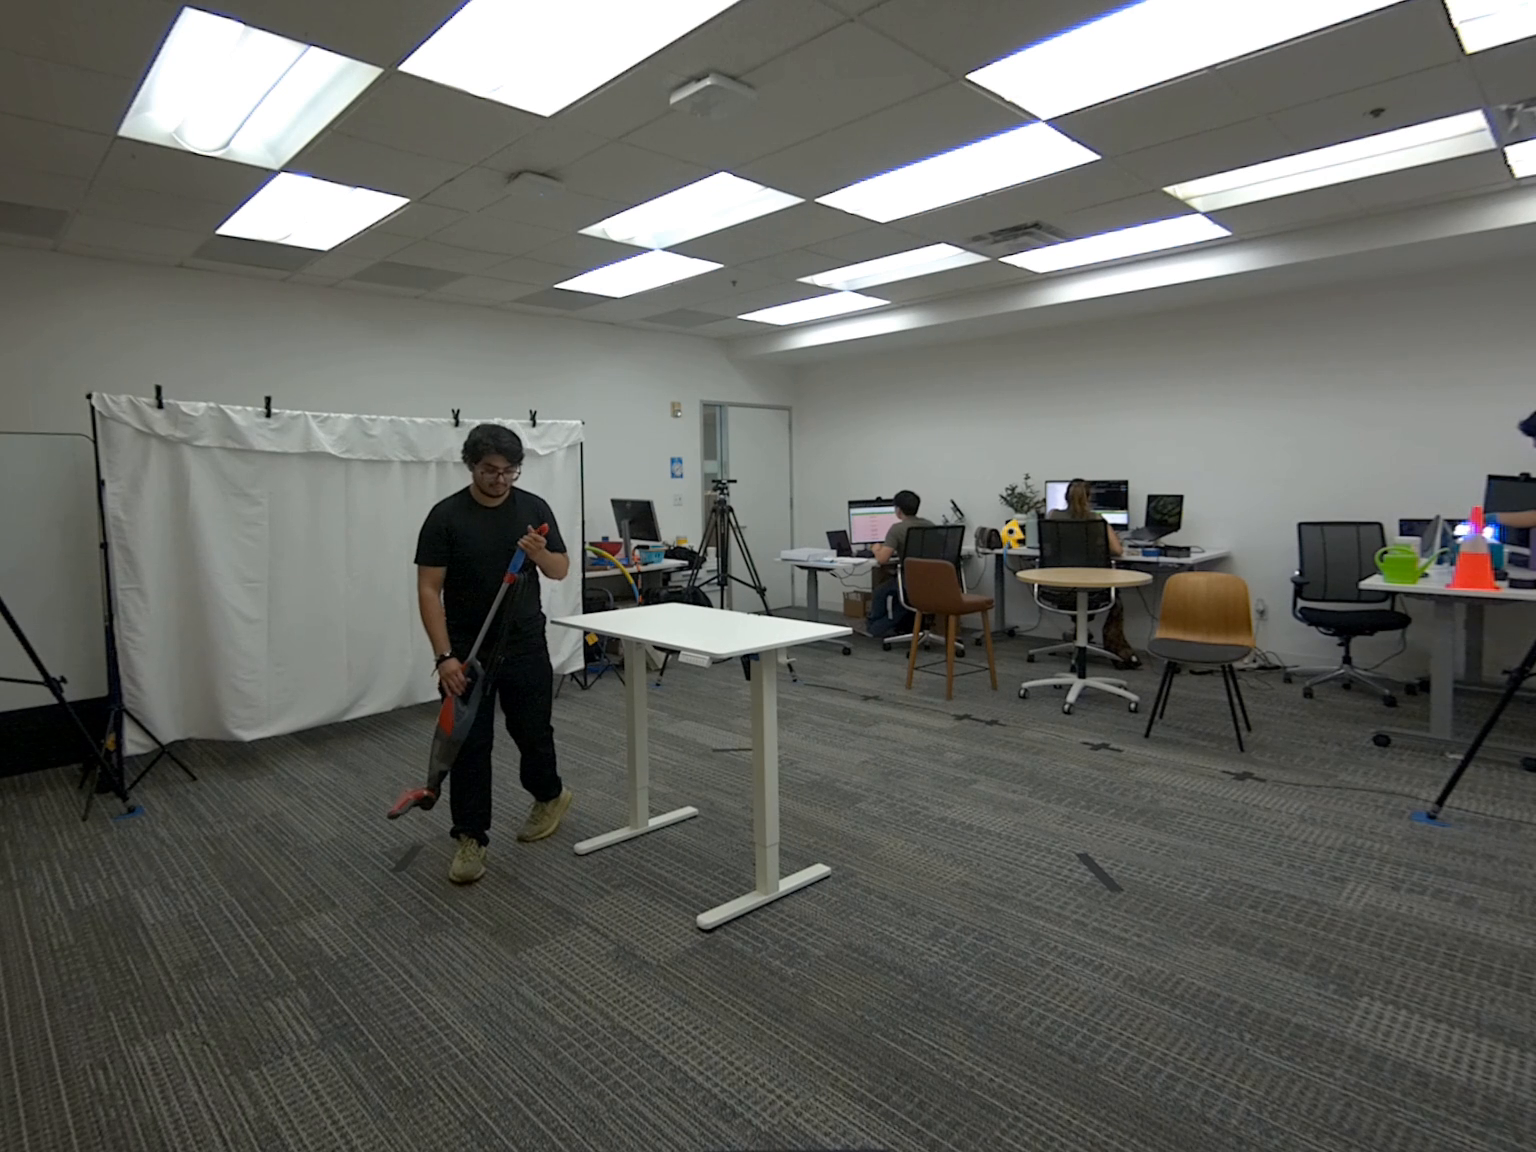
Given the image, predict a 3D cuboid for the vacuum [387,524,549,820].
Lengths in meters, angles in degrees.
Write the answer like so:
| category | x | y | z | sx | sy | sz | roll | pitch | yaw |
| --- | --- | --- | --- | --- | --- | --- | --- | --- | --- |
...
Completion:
| category | x | y | z | sx | sy | sz | roll | pitch | yaw |
| --- | --- | --- | --- | --- | --- | --- | --- | --- | --- |
| vacuum | -0.990 | 0.314 | 2.966 | 0.142 | 1.050 | 0.256 | 26 | -2 | -12 |
